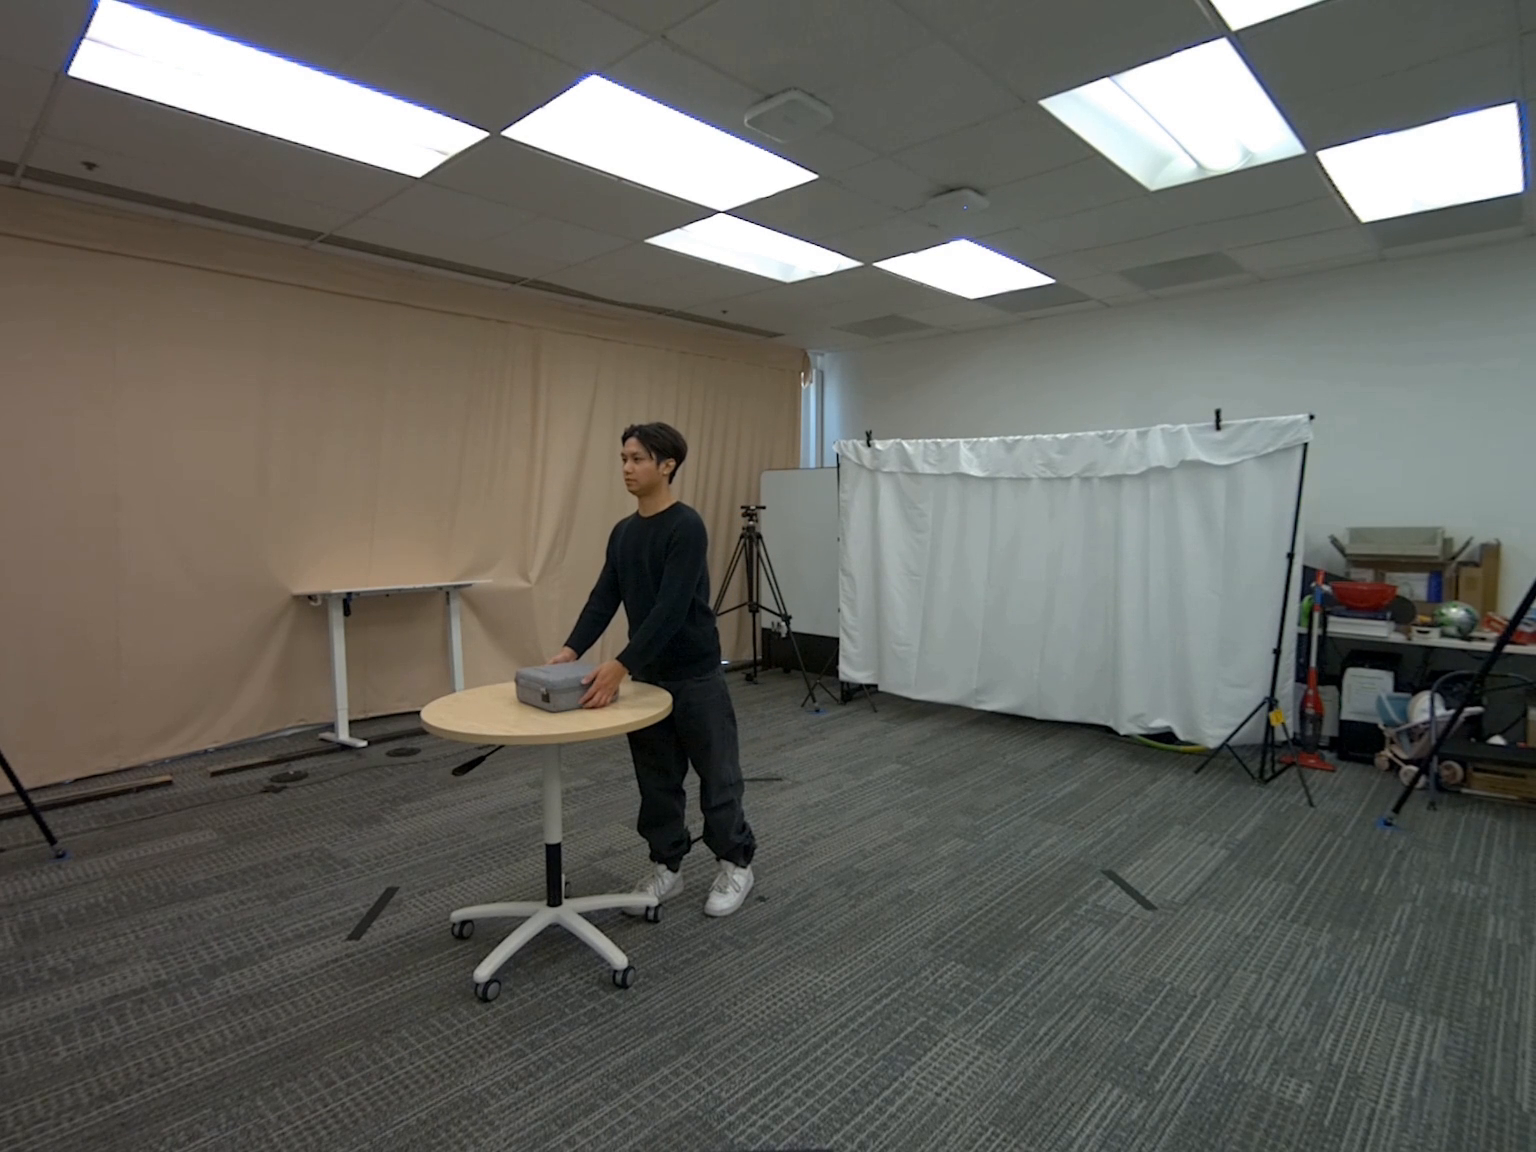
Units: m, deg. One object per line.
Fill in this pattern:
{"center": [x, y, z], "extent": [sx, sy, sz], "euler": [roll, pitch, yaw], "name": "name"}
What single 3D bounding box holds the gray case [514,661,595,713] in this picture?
{"center": [-0.640, 0.345, 2.634], "extent": [0.253, 0.104, 0.265], "euler": [-5, 4, -43], "name": "gray case"}
